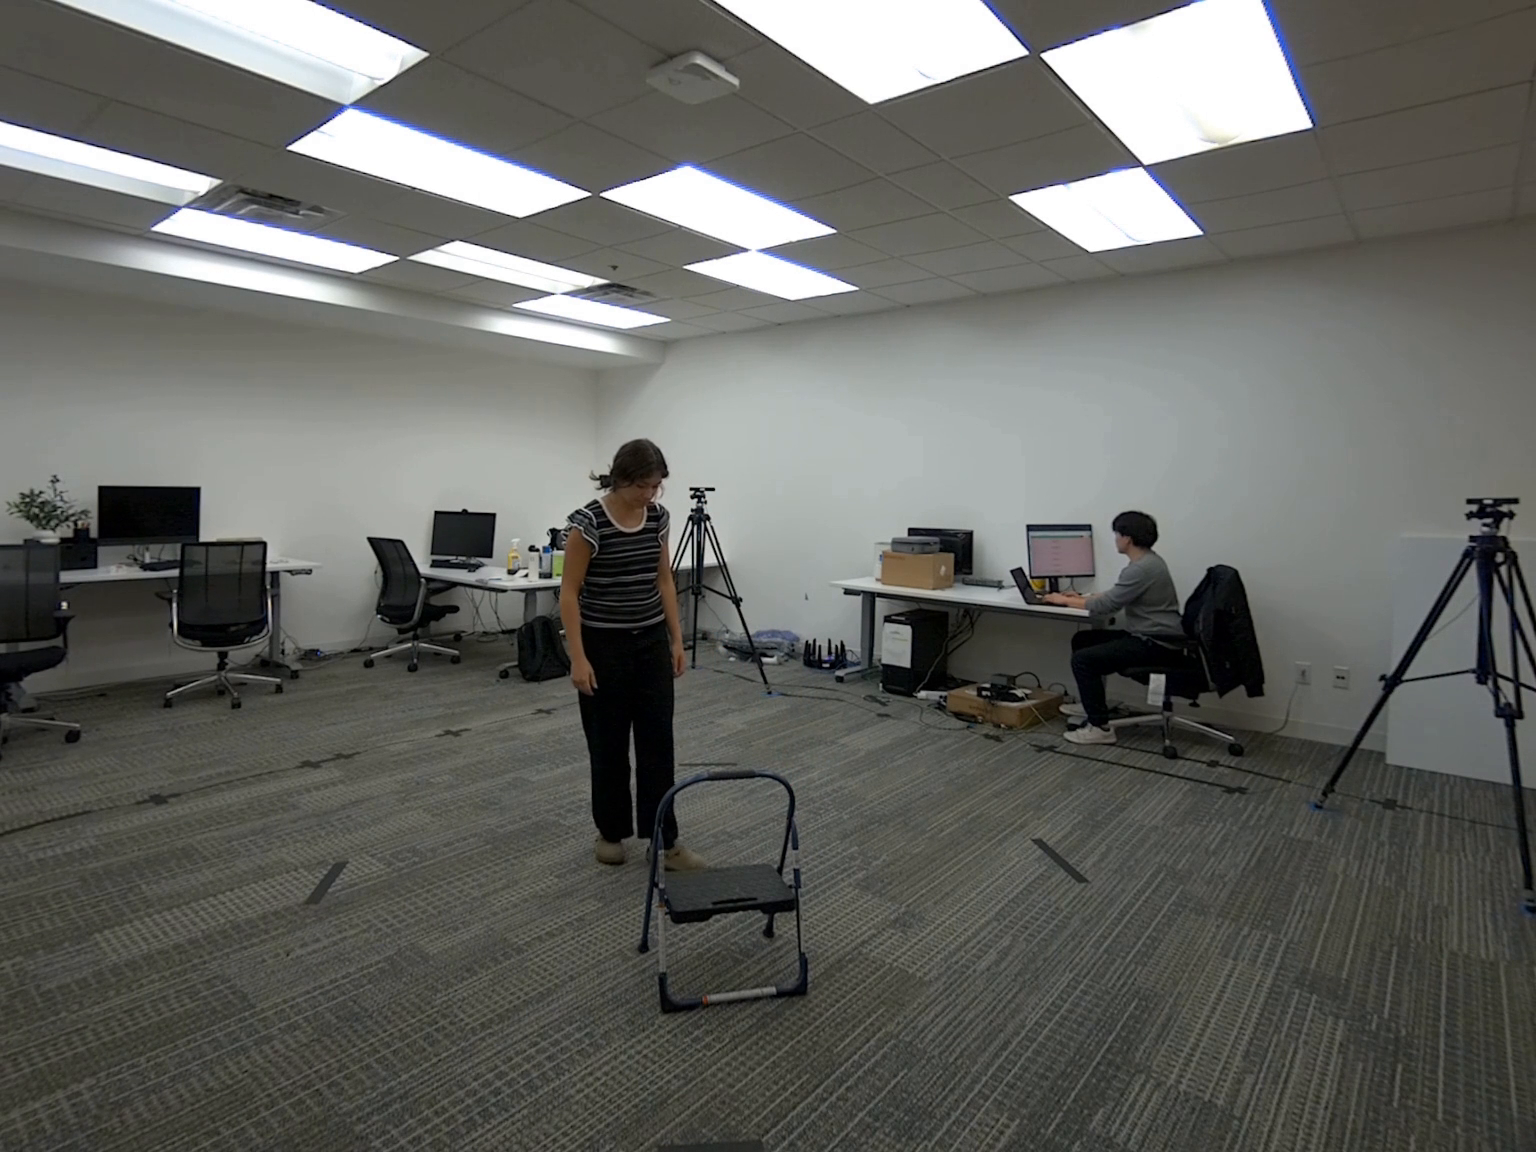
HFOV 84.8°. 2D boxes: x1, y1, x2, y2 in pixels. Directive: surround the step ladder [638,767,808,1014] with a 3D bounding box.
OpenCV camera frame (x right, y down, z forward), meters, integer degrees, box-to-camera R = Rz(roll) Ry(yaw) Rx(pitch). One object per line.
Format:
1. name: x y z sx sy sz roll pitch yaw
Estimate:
1. step ladder: -0.138 0.835 2.439 0.423 0.604 0.356 0 3 -17
